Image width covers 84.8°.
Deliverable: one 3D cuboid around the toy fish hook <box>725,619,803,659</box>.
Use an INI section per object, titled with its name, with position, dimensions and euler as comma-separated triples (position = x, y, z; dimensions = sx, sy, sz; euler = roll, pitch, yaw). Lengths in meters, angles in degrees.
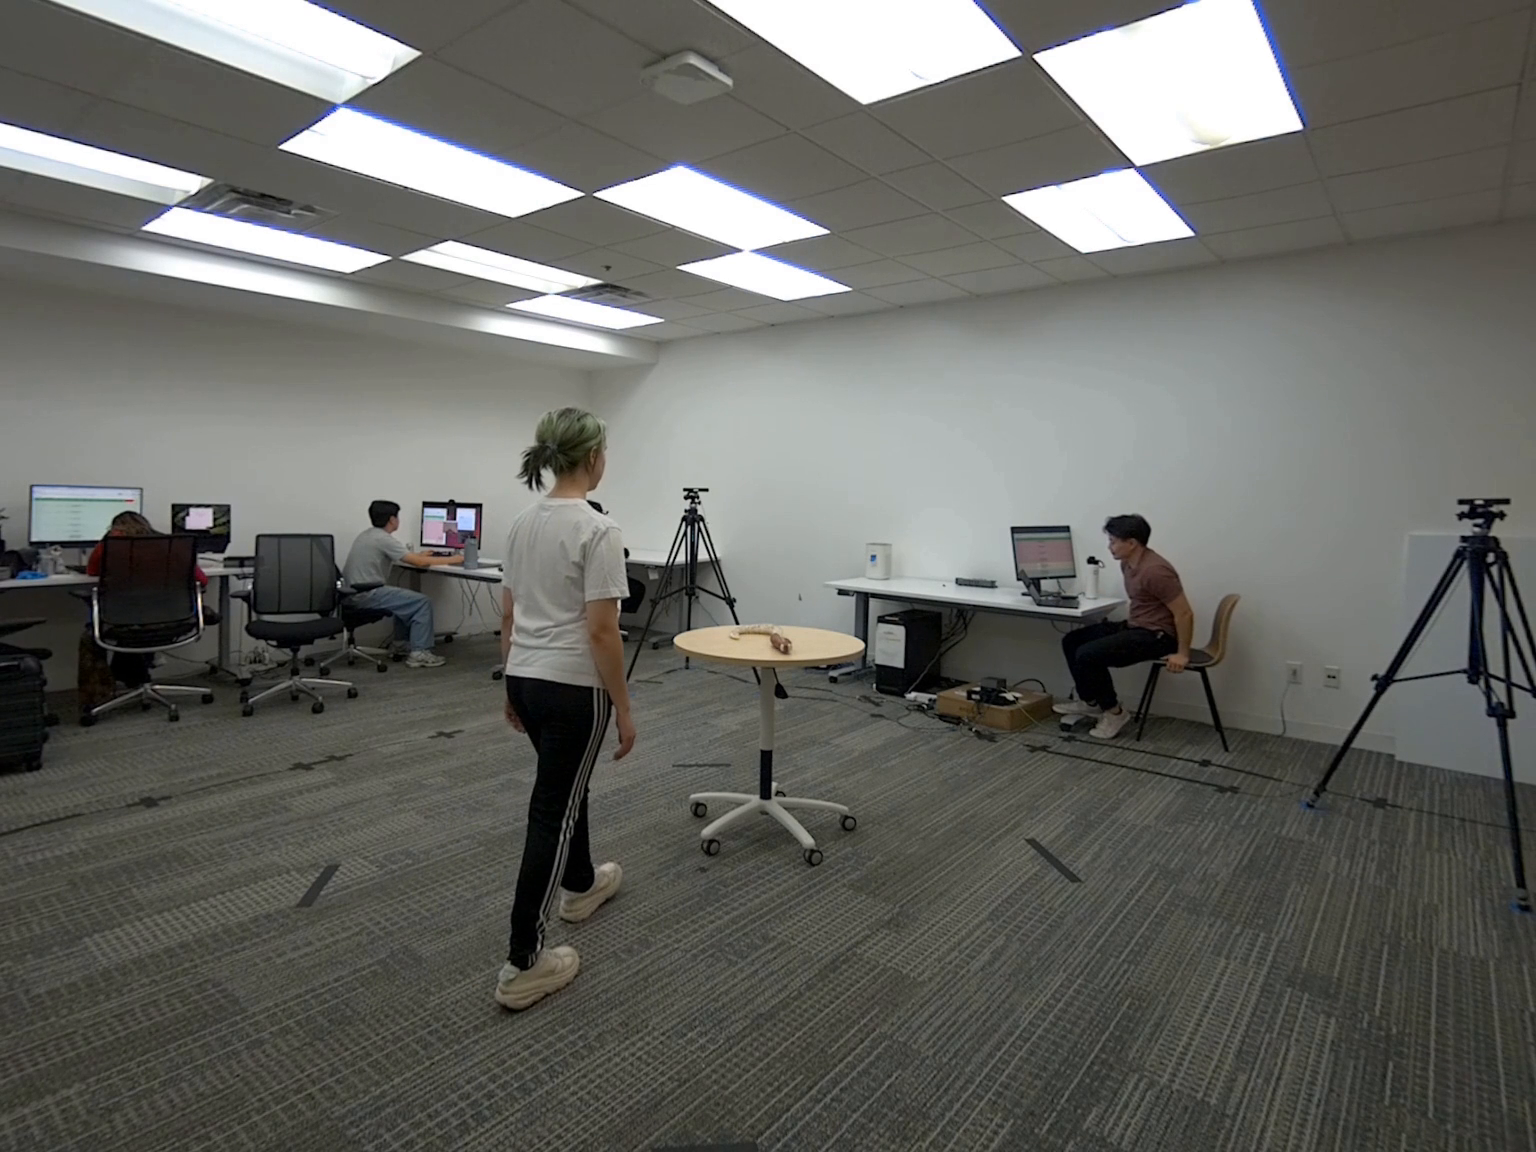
[toy fish hook]
position = -0.028, 0.246, 3.382
dimensions = 0.223, 0.048, 0.512
euler = -7, 6, -9
